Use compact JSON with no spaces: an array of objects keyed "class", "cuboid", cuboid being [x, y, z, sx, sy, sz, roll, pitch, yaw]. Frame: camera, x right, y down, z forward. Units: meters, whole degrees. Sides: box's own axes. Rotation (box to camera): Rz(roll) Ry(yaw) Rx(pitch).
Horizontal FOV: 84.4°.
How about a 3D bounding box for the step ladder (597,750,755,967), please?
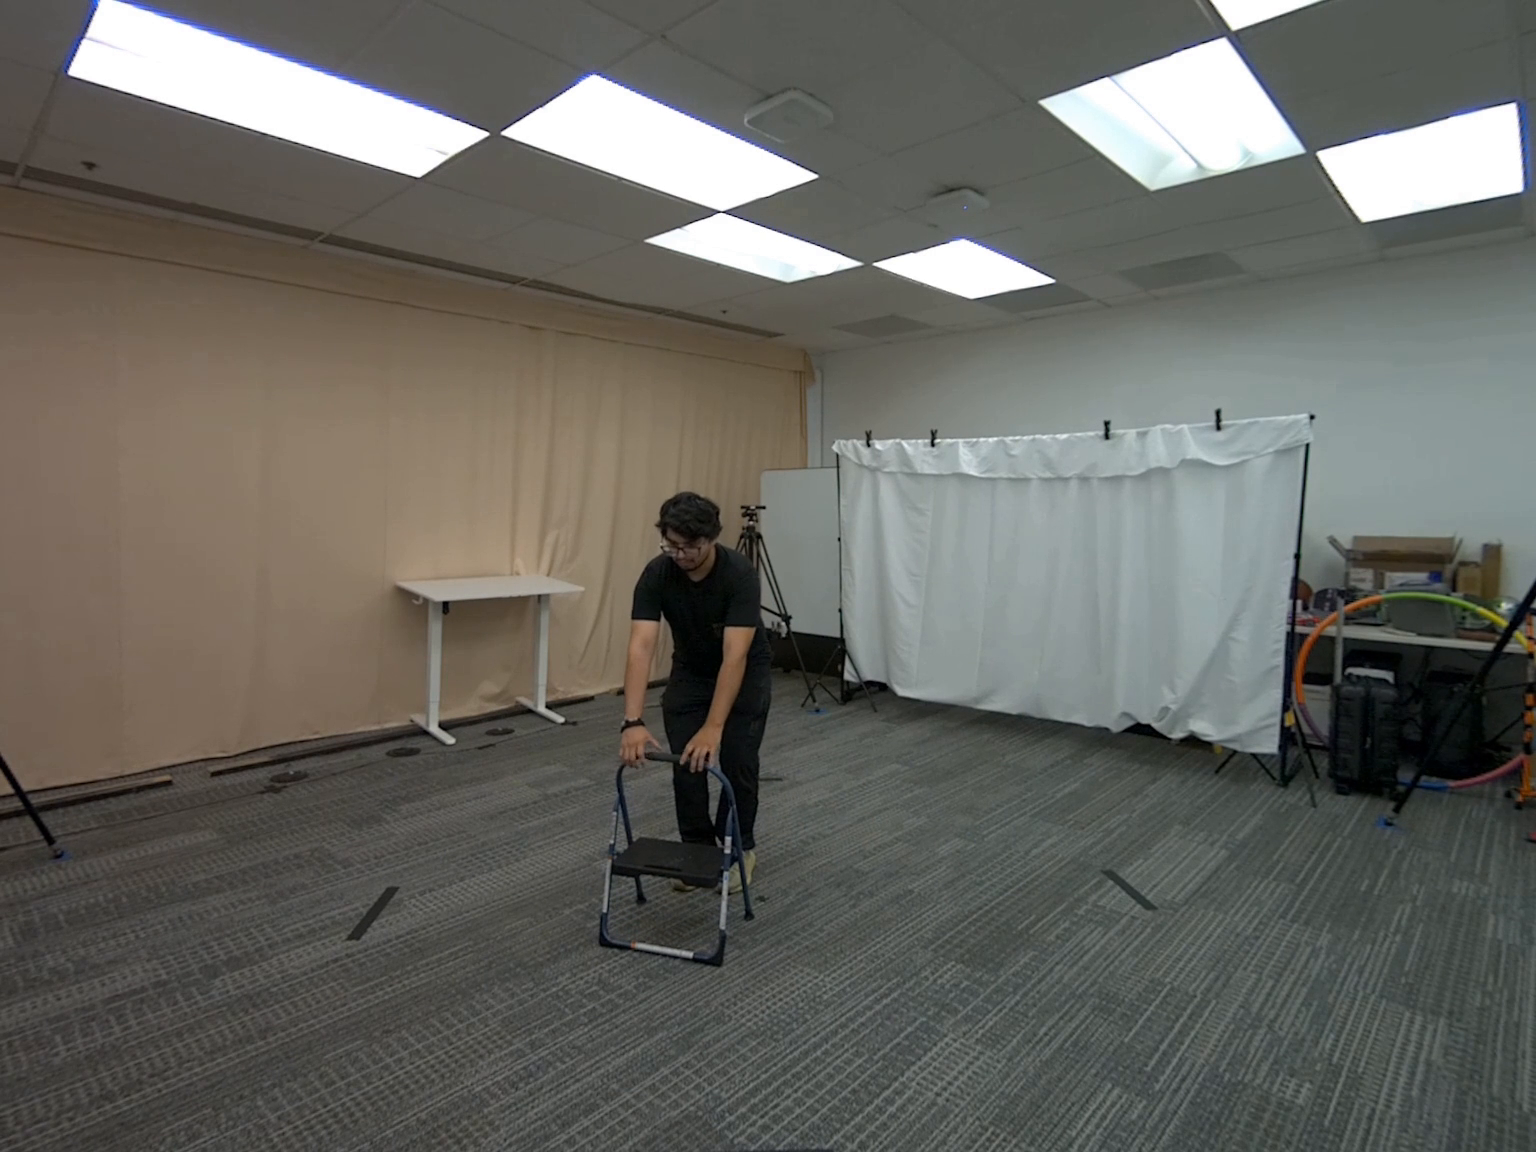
[{"class":"step ladder","cuboid":[-0.299,0.863,2.749,0.439,0.605,0.343,1,3,17]}]
